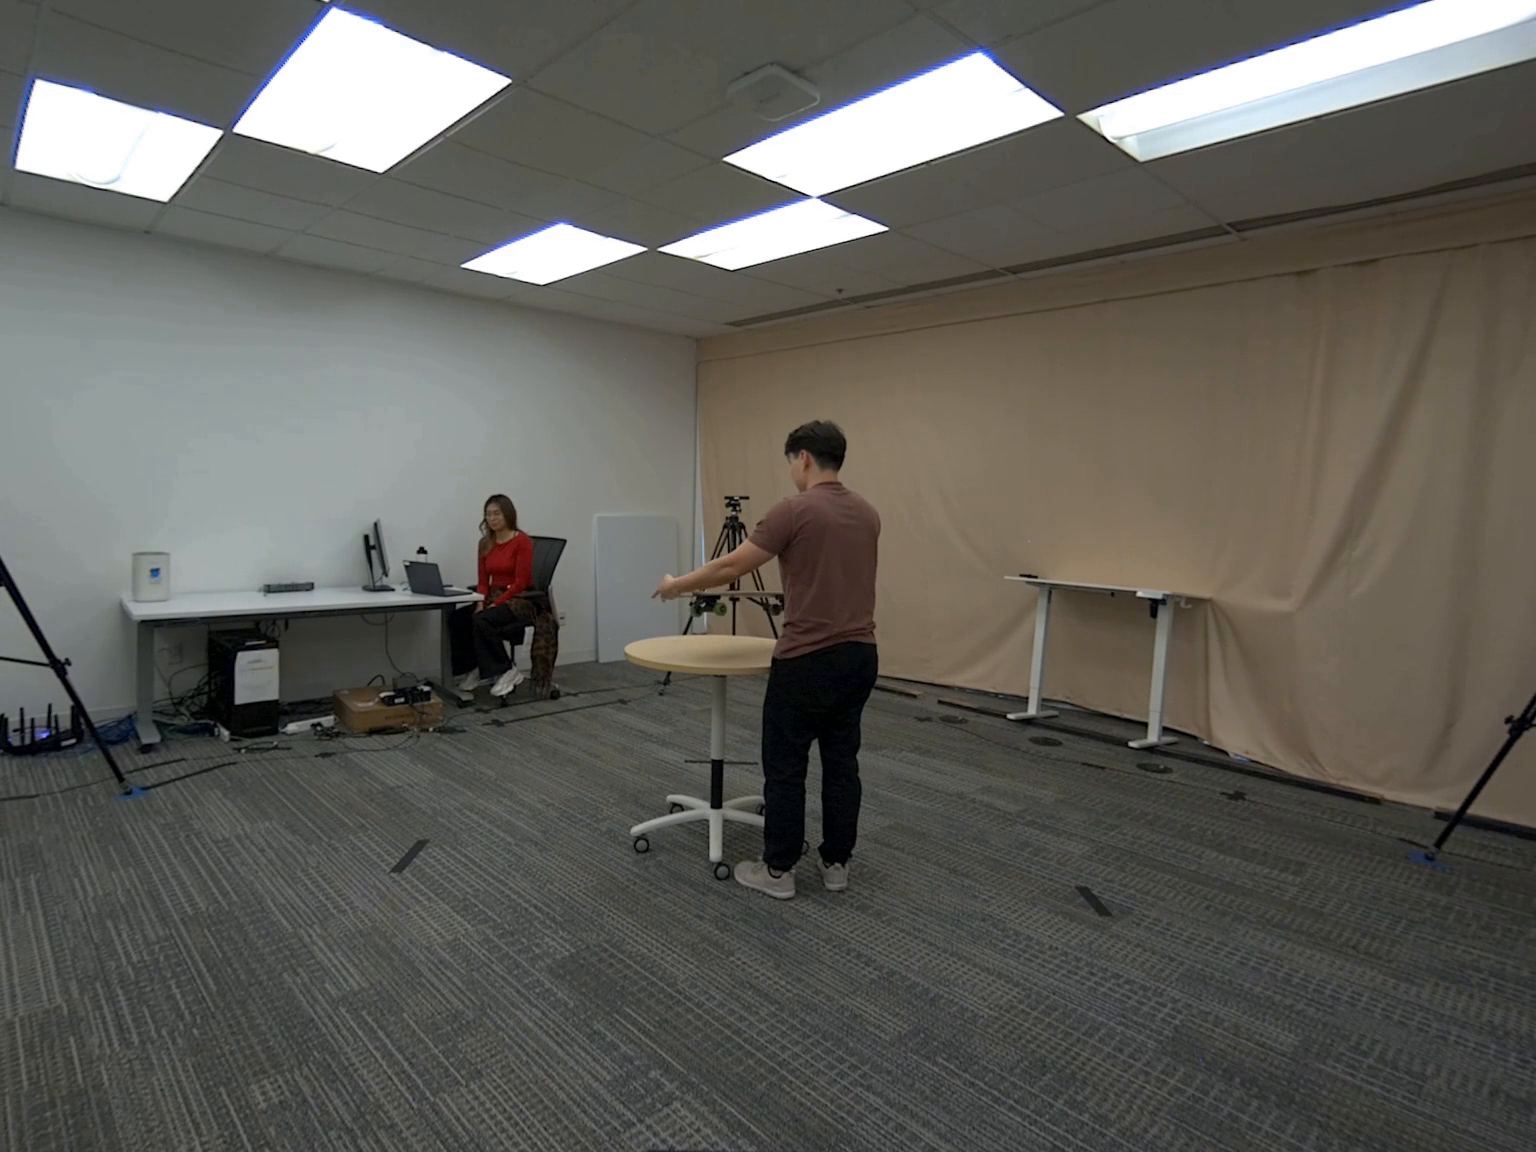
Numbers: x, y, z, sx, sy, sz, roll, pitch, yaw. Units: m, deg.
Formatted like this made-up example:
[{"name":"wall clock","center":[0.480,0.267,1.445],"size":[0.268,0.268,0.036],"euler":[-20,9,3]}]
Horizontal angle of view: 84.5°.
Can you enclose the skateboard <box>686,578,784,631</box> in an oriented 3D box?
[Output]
[{"name":"skateboard","center":[-0.084,0.106,3.297],"size":[0.767,0.111,0.197],"euler":[1,-8,-38]}]
